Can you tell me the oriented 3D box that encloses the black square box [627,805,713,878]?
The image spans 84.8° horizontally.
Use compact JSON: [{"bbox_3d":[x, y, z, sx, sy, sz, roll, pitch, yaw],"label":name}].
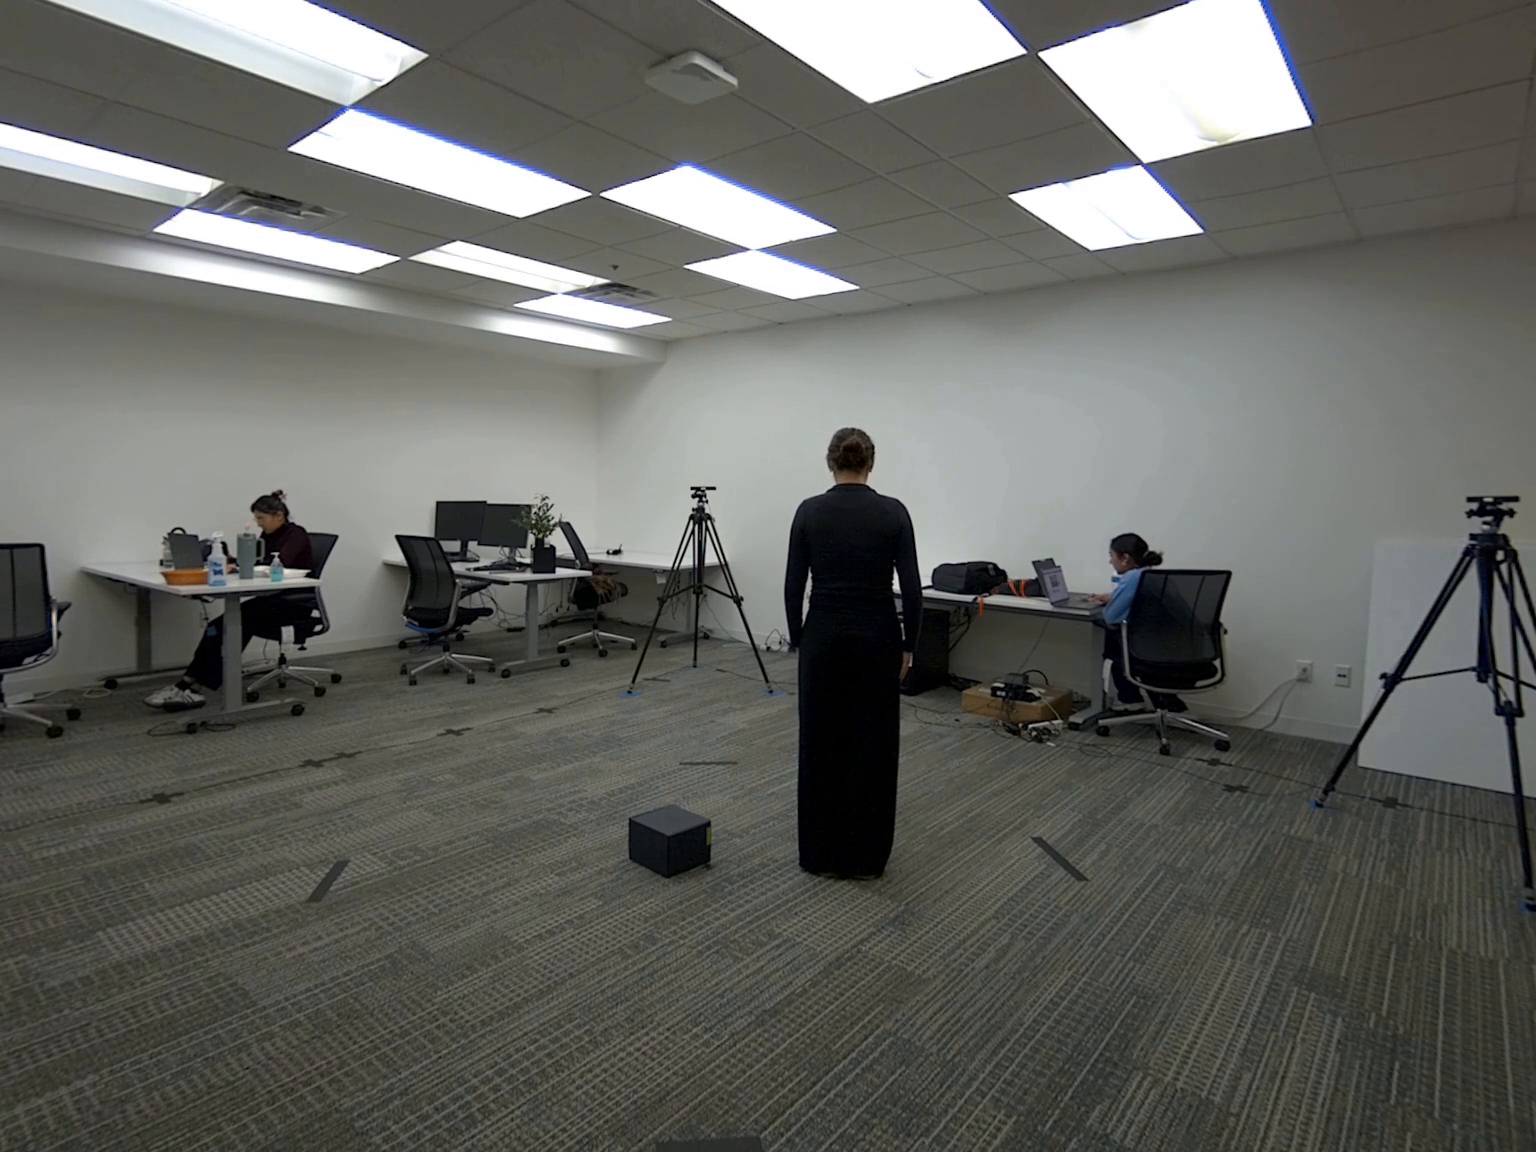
[{"bbox_3d":[-0.374,0.975,3.166,0.235,0.155,0.210,4,5,43],"label":"black square box"}]
